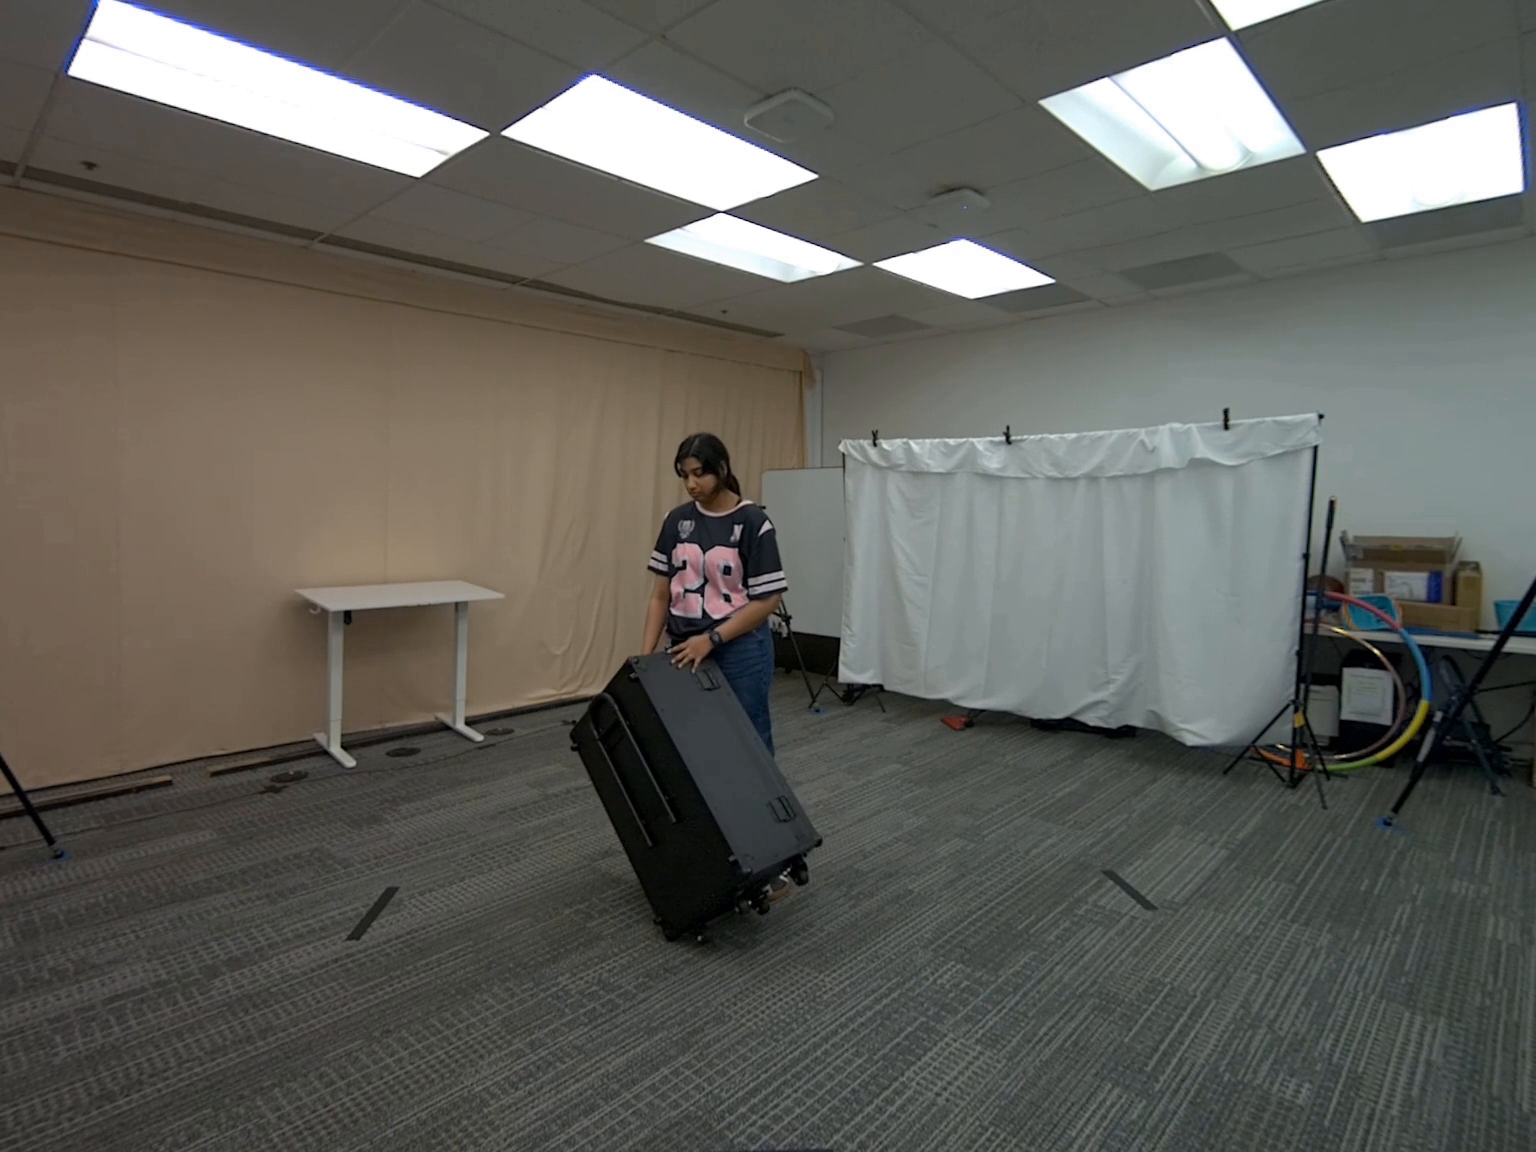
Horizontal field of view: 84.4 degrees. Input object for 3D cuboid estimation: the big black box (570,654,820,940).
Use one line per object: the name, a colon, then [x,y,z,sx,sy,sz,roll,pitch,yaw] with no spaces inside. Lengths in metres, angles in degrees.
big black box: [-0.247,0.733,2.827,0.373,0.891,0.526,-3,-38,-47]
